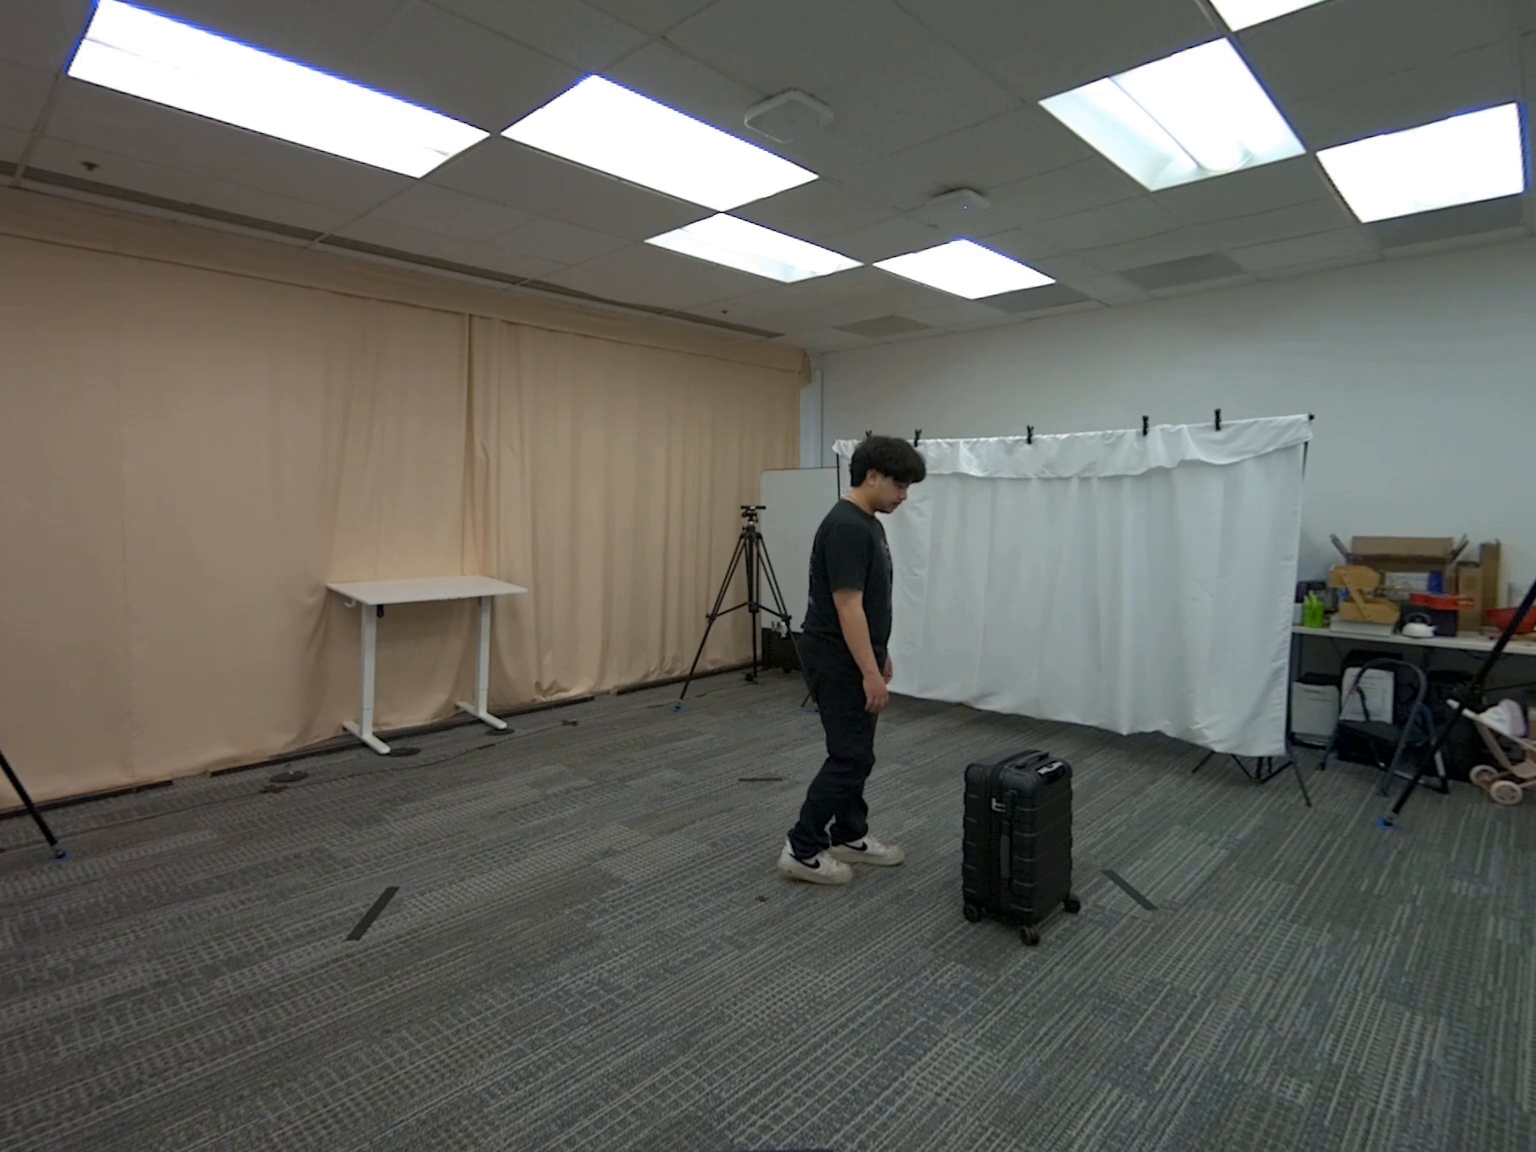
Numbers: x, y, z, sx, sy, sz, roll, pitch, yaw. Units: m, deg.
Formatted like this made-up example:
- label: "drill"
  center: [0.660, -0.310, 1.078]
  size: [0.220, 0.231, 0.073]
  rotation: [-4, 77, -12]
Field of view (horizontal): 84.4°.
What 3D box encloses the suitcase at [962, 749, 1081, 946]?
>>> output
- label: "suitcase"
  center: [0.856, 0.877, 2.852]
  size: [0.256, 0.548, 0.364]
  rotation: [1, 3, 45]
